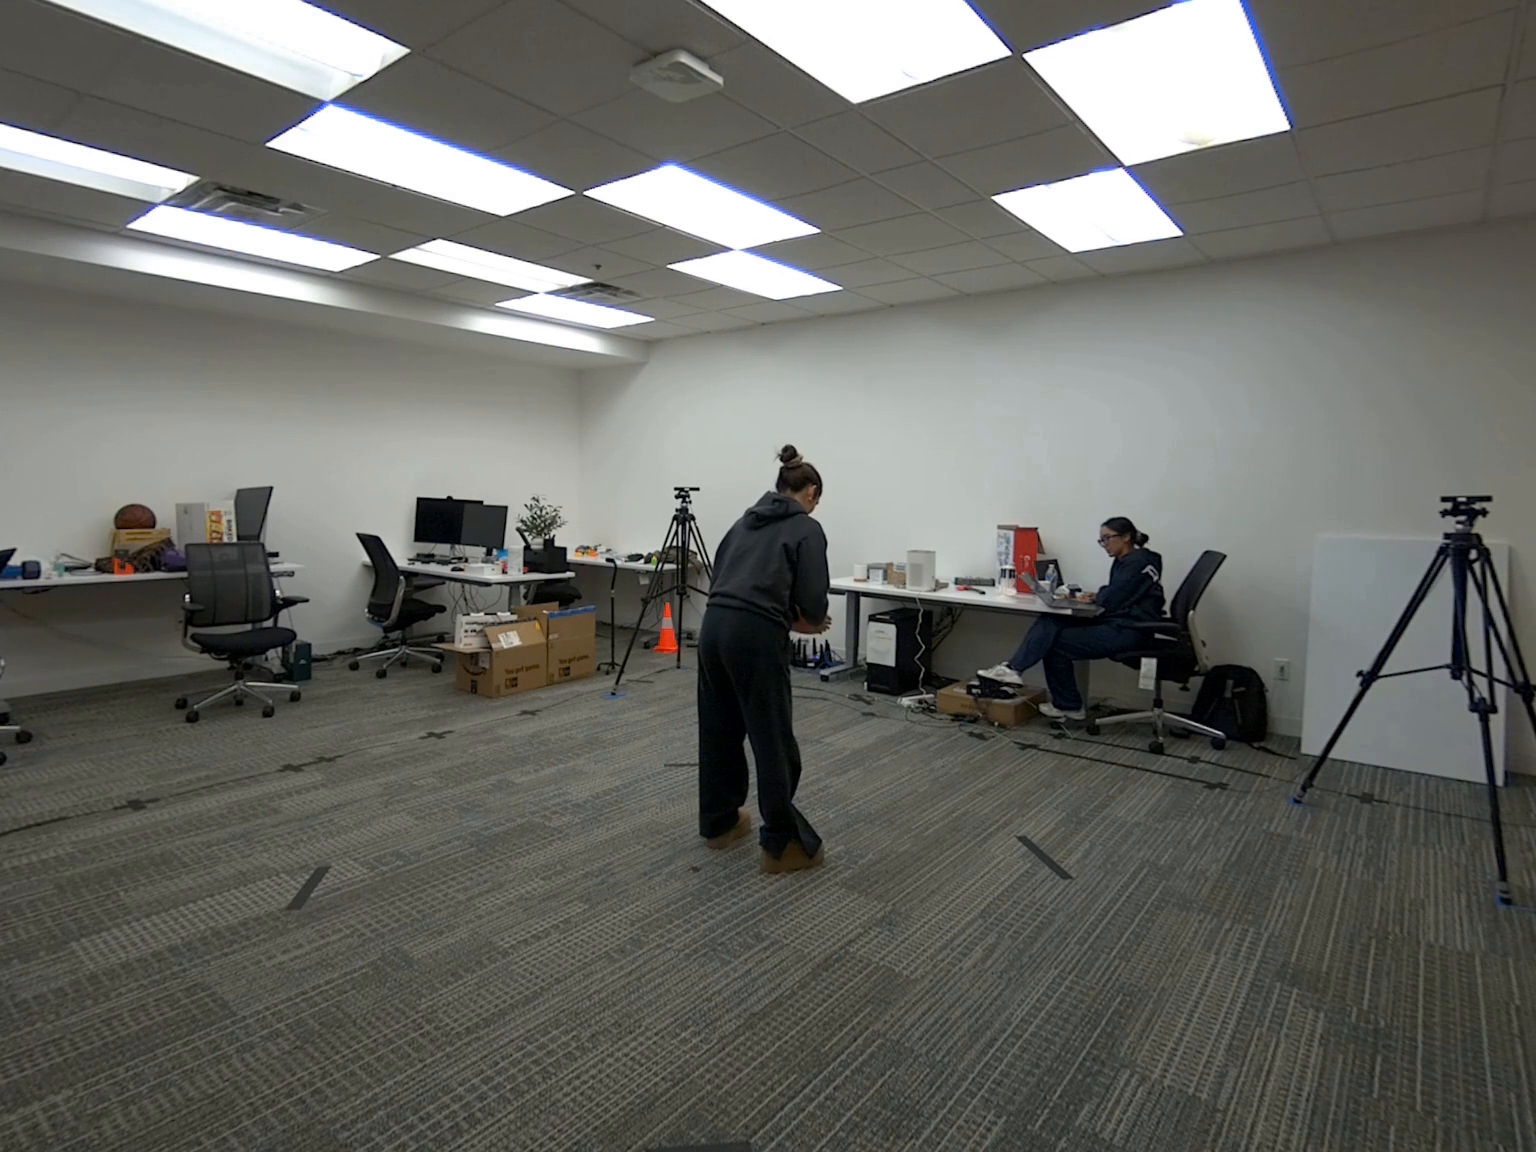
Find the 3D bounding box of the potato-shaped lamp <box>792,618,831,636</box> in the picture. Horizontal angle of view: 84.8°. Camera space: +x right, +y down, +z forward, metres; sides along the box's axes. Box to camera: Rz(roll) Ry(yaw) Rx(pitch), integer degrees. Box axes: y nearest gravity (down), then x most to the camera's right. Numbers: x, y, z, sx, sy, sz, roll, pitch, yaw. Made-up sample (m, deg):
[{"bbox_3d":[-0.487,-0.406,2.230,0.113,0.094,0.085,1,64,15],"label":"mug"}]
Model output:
[{"bbox_3d":[0.155,0.133,3.452,0.170,0.197,0.166,10,10,38],"label":"potato-shaped lamp"}]
